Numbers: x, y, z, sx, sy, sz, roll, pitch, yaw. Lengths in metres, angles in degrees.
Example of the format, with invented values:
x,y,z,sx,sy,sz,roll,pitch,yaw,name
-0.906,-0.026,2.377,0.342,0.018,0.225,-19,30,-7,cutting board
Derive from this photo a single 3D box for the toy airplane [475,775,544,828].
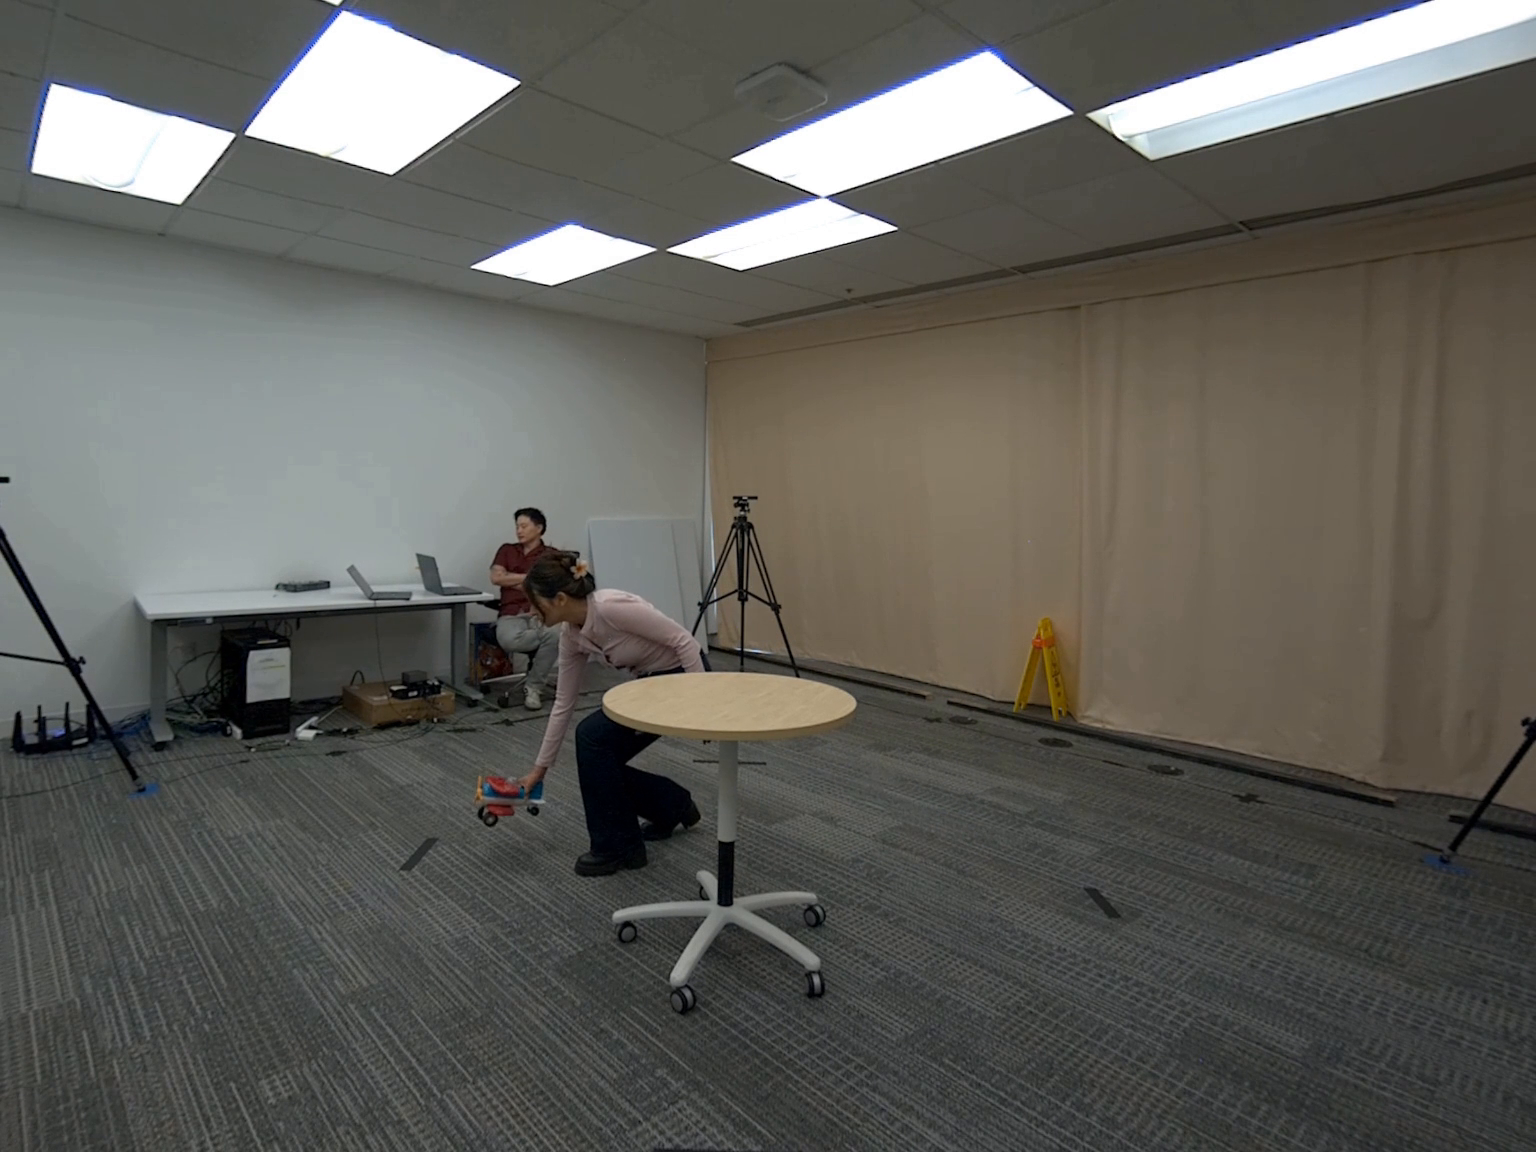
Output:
x,y,z,sx,sy,sz,roll,pitch,yaw,name
-1.003,0.855,3.239,0.256,0.156,0.254,-1,2,33,toy airplane
